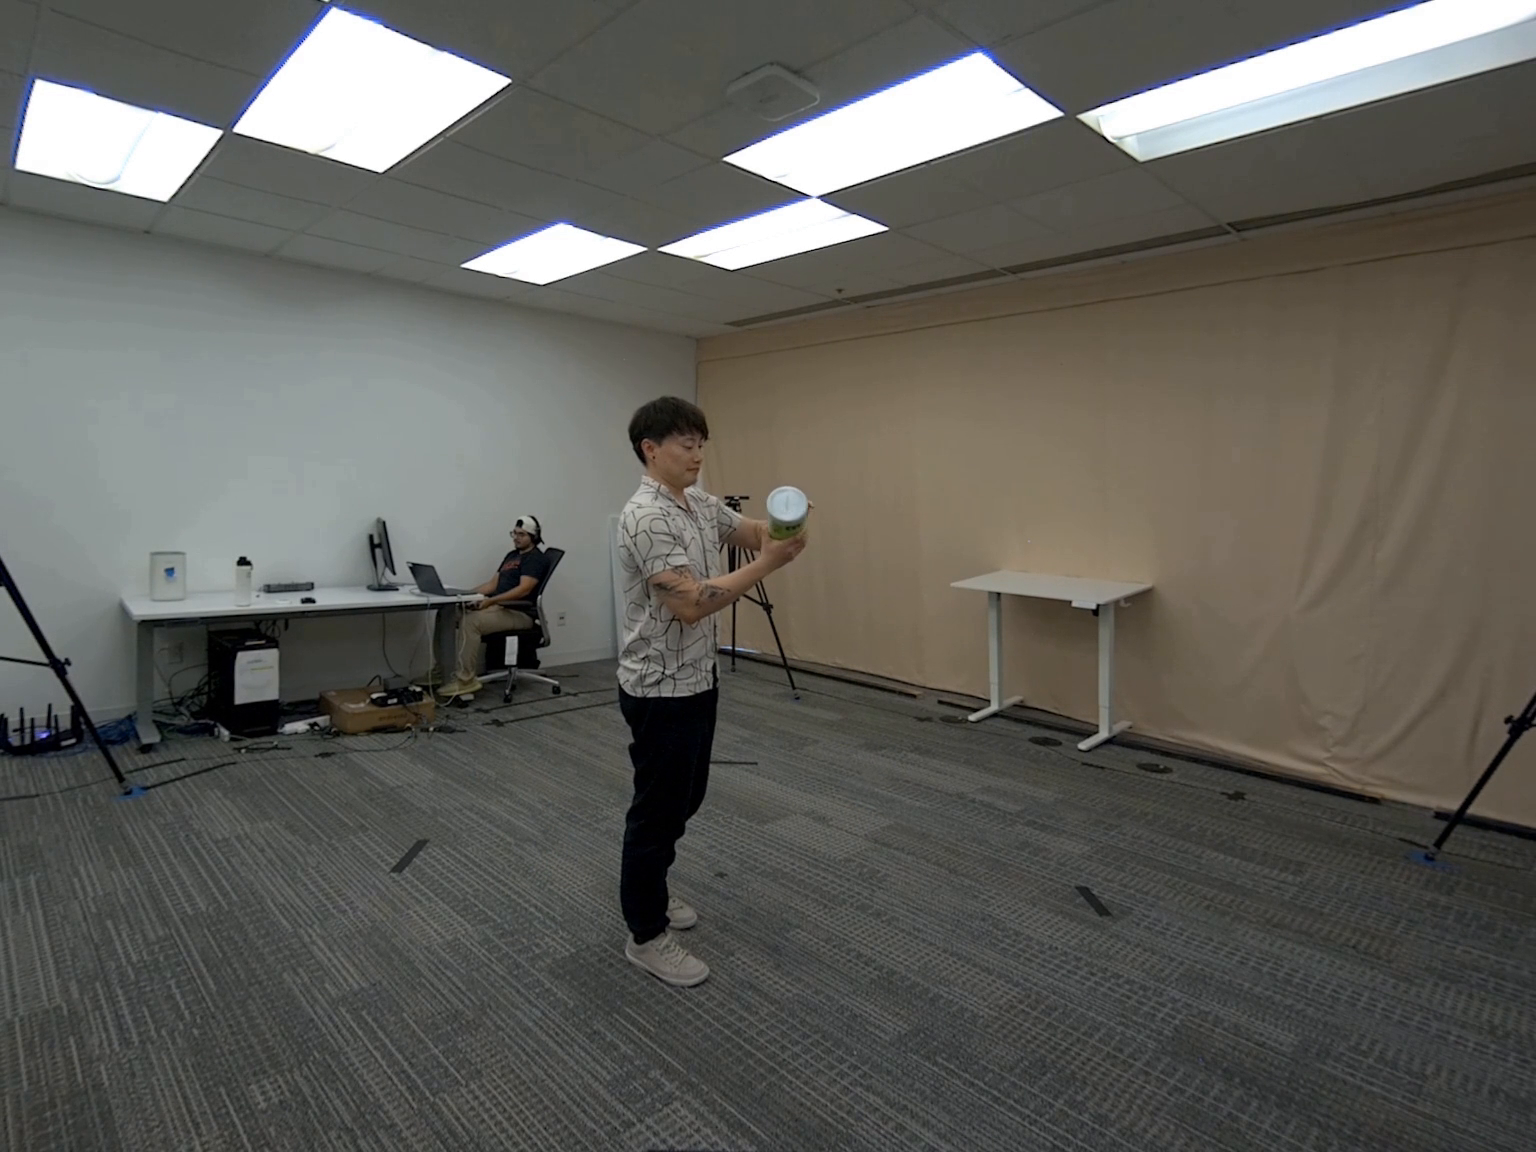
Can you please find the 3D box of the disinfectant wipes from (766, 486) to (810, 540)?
[{"bbox_3d":[0.032,-0.145,2.269,0.118,0.120,0.214,2,-27,-1],"label":"disinfectant wipes"}]
